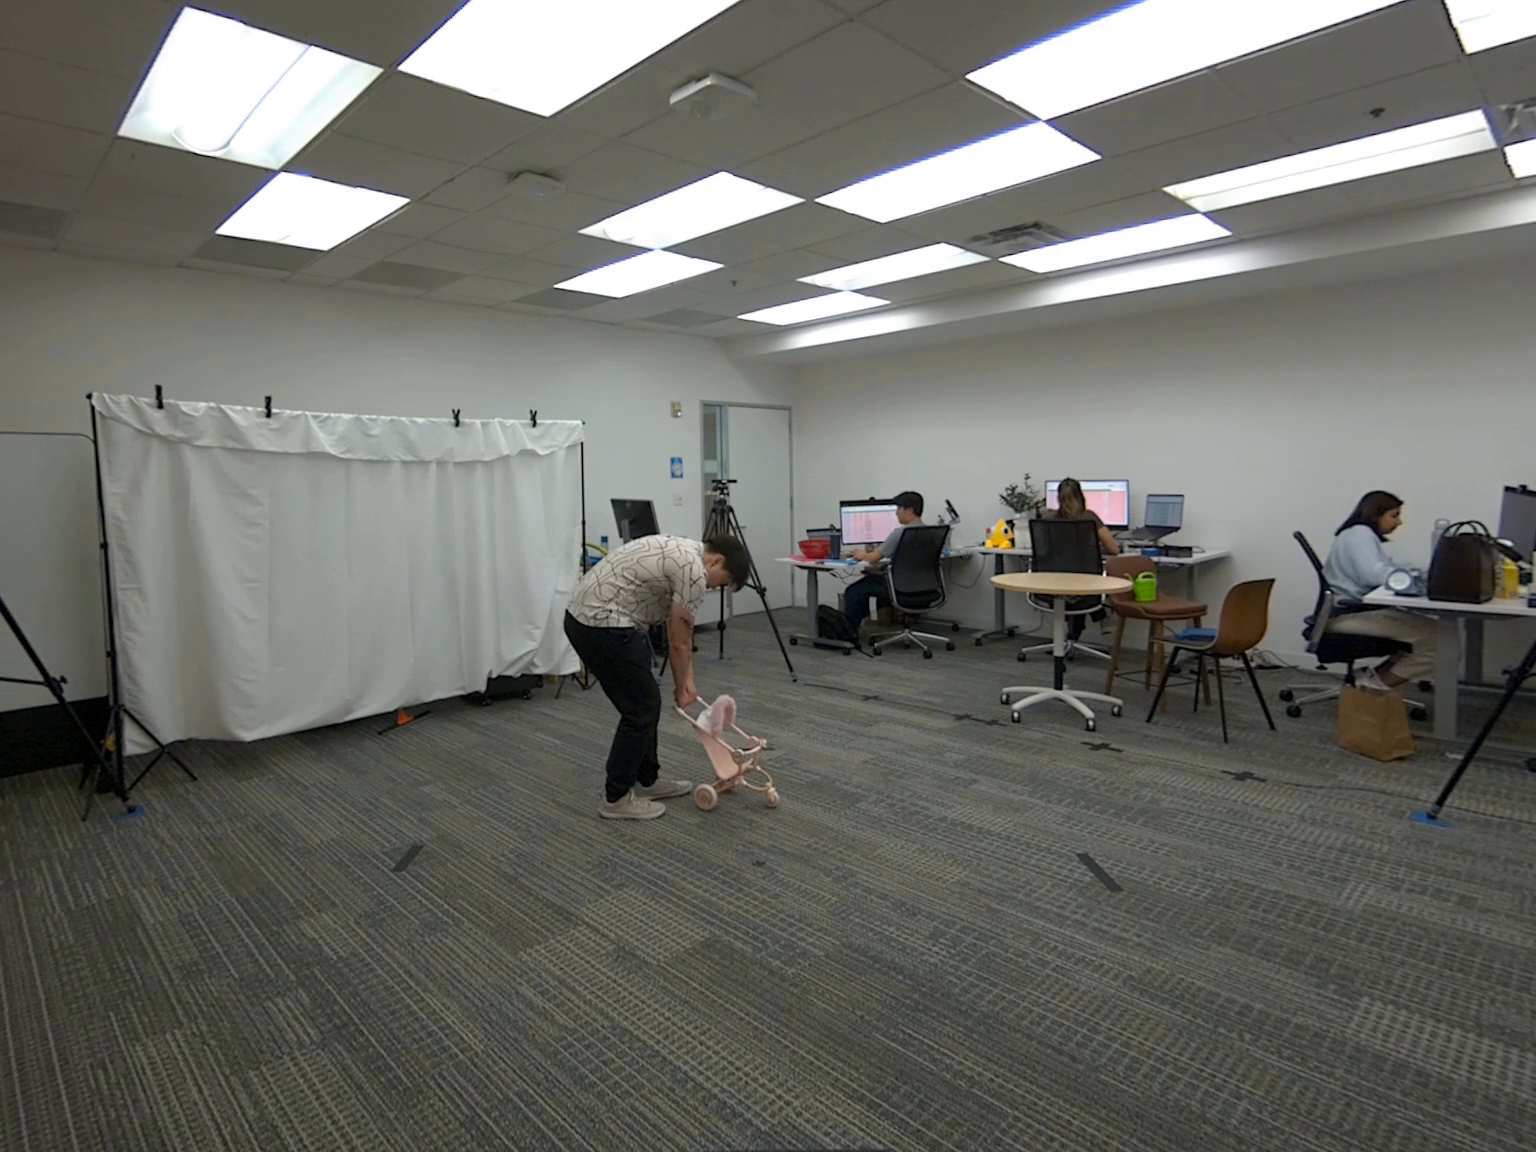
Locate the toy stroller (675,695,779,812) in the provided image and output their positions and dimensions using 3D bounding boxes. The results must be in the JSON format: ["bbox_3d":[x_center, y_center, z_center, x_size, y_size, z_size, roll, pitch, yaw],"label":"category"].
[{"bbox_3d":[-0.167,0.754,3.699,0.347,0.537,0.276,-17,-3,26],"label":"toy stroller"}]
